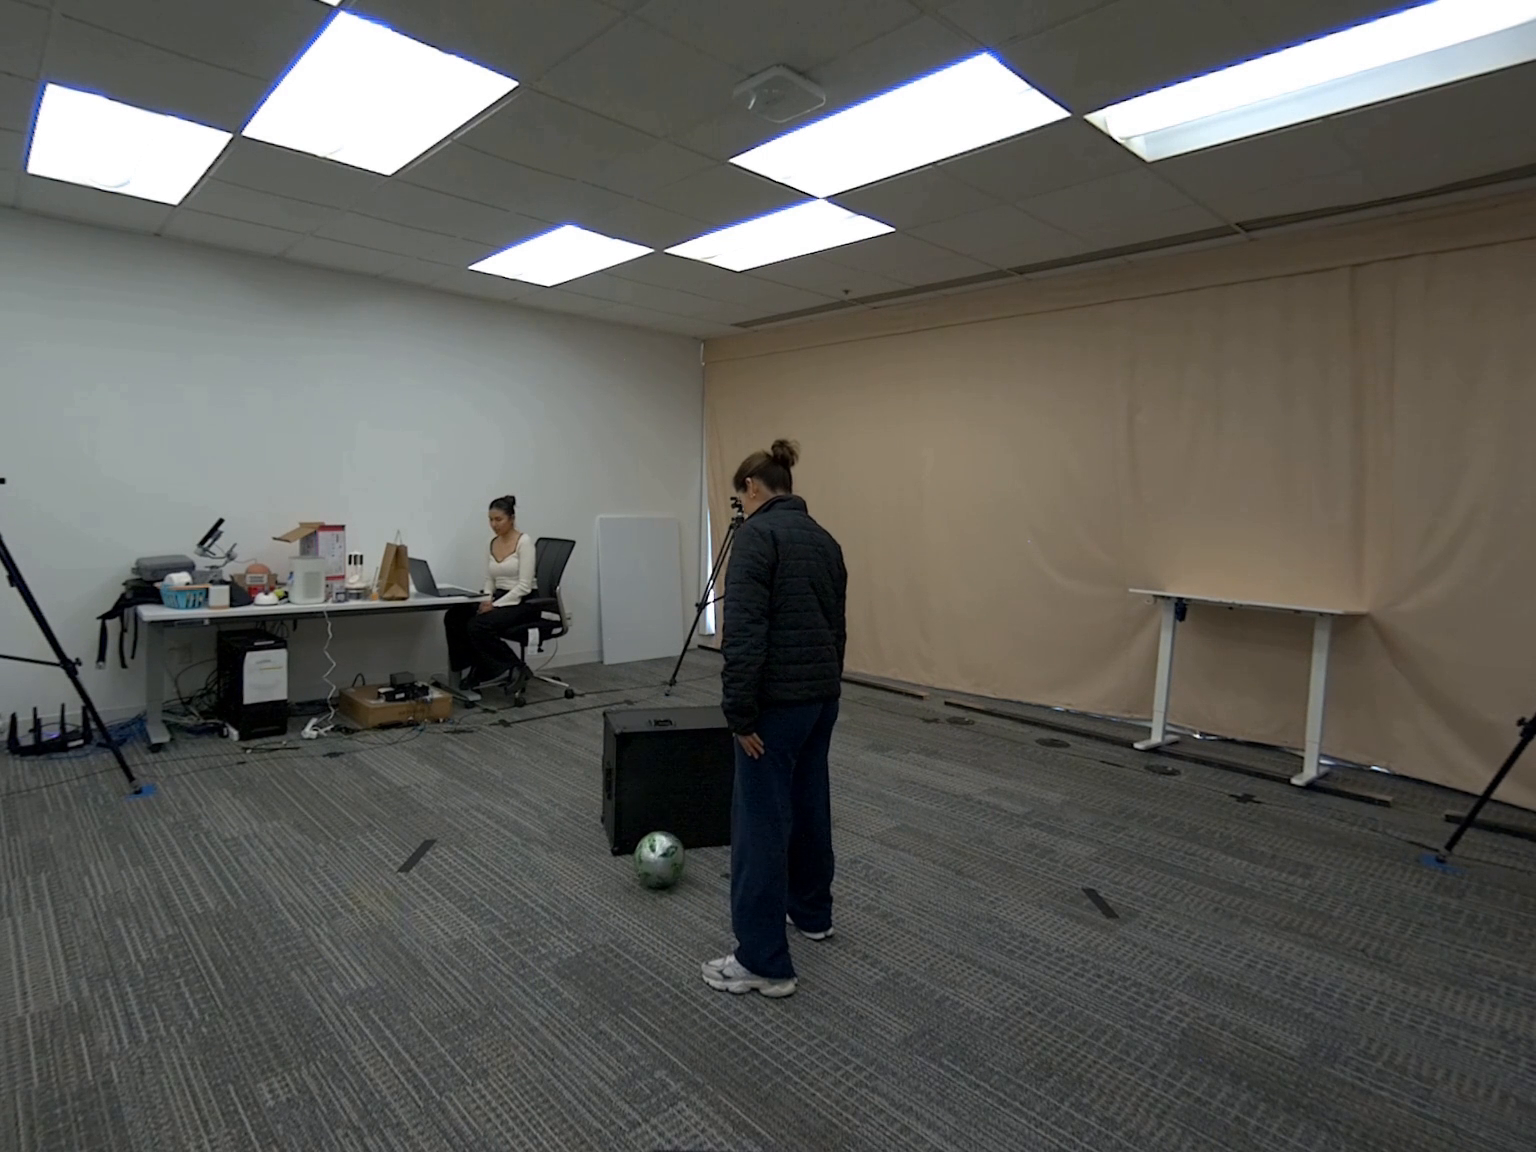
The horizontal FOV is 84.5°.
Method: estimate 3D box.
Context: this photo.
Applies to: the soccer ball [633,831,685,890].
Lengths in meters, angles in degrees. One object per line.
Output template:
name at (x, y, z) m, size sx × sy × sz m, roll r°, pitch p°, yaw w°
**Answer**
soccer ball at (-0.401, 1.012, 3.014) m, size 0.187 × 0.187 × 0.188 m, roll 1°, pitch 4°, yaw -1°
